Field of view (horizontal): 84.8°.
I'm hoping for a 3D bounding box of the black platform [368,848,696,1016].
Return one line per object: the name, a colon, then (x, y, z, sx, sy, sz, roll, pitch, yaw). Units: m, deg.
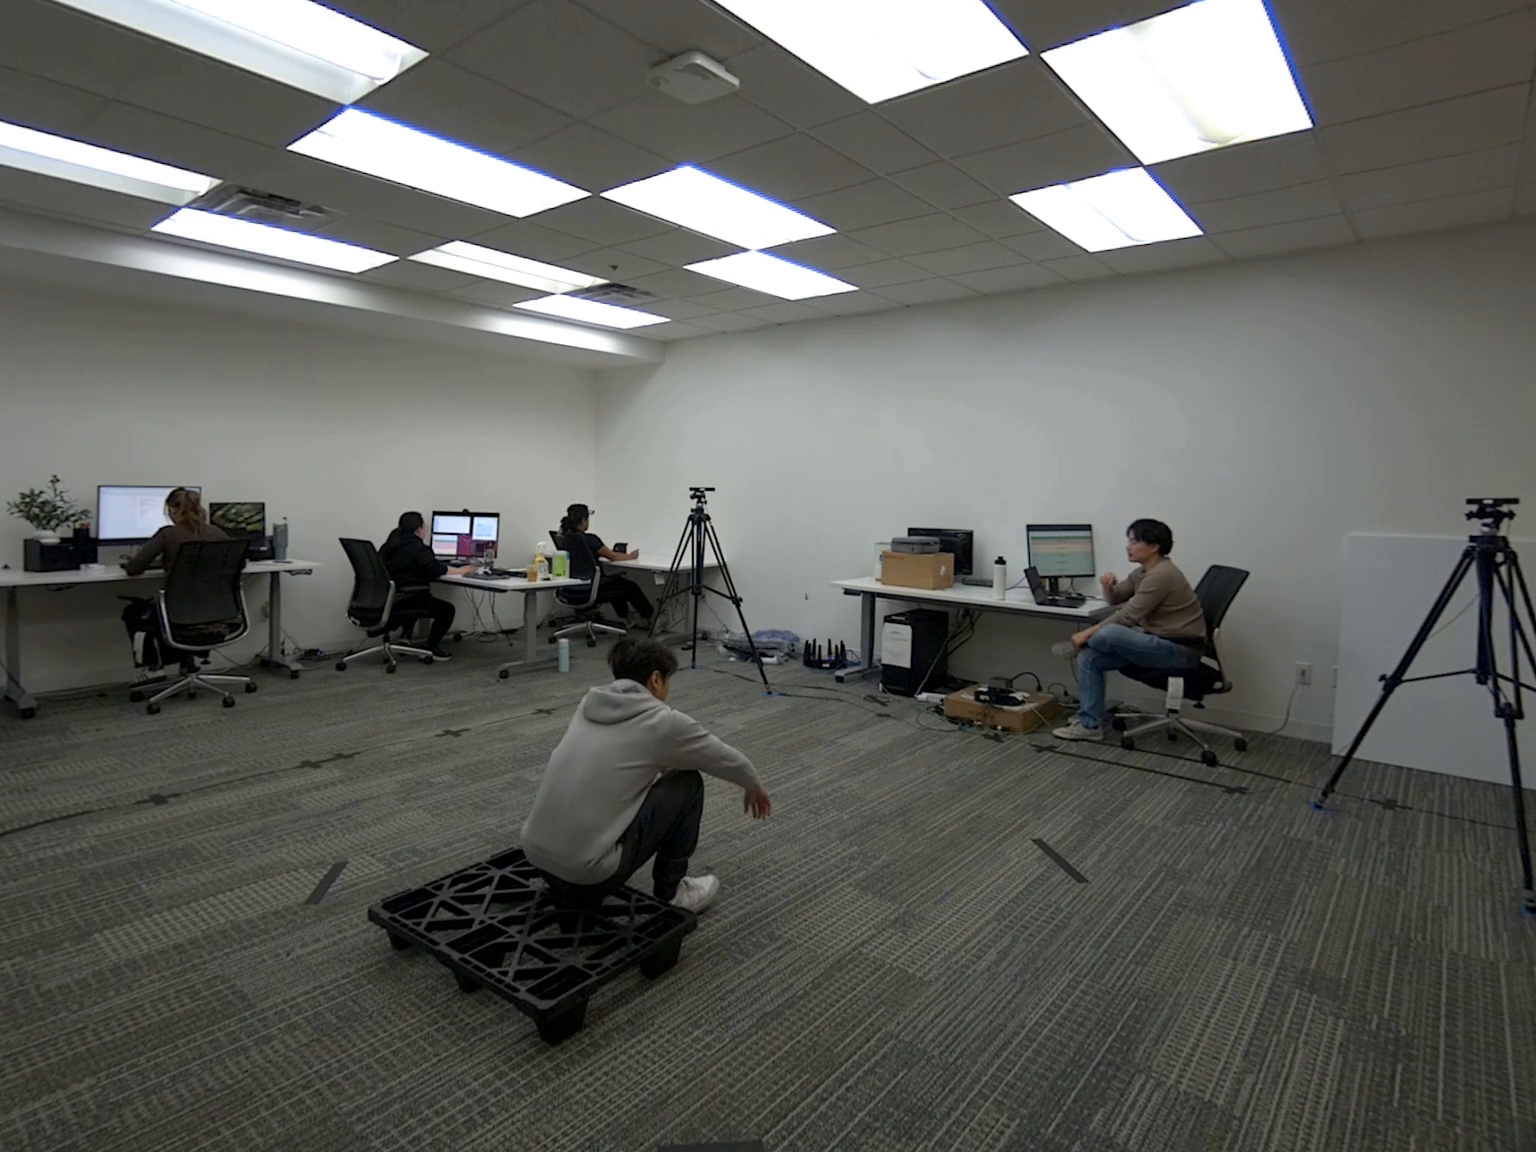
black platform: (-0.706, 1.051, 2.518, 0.832, 0.143, 0.588, 5, 6, 36)
